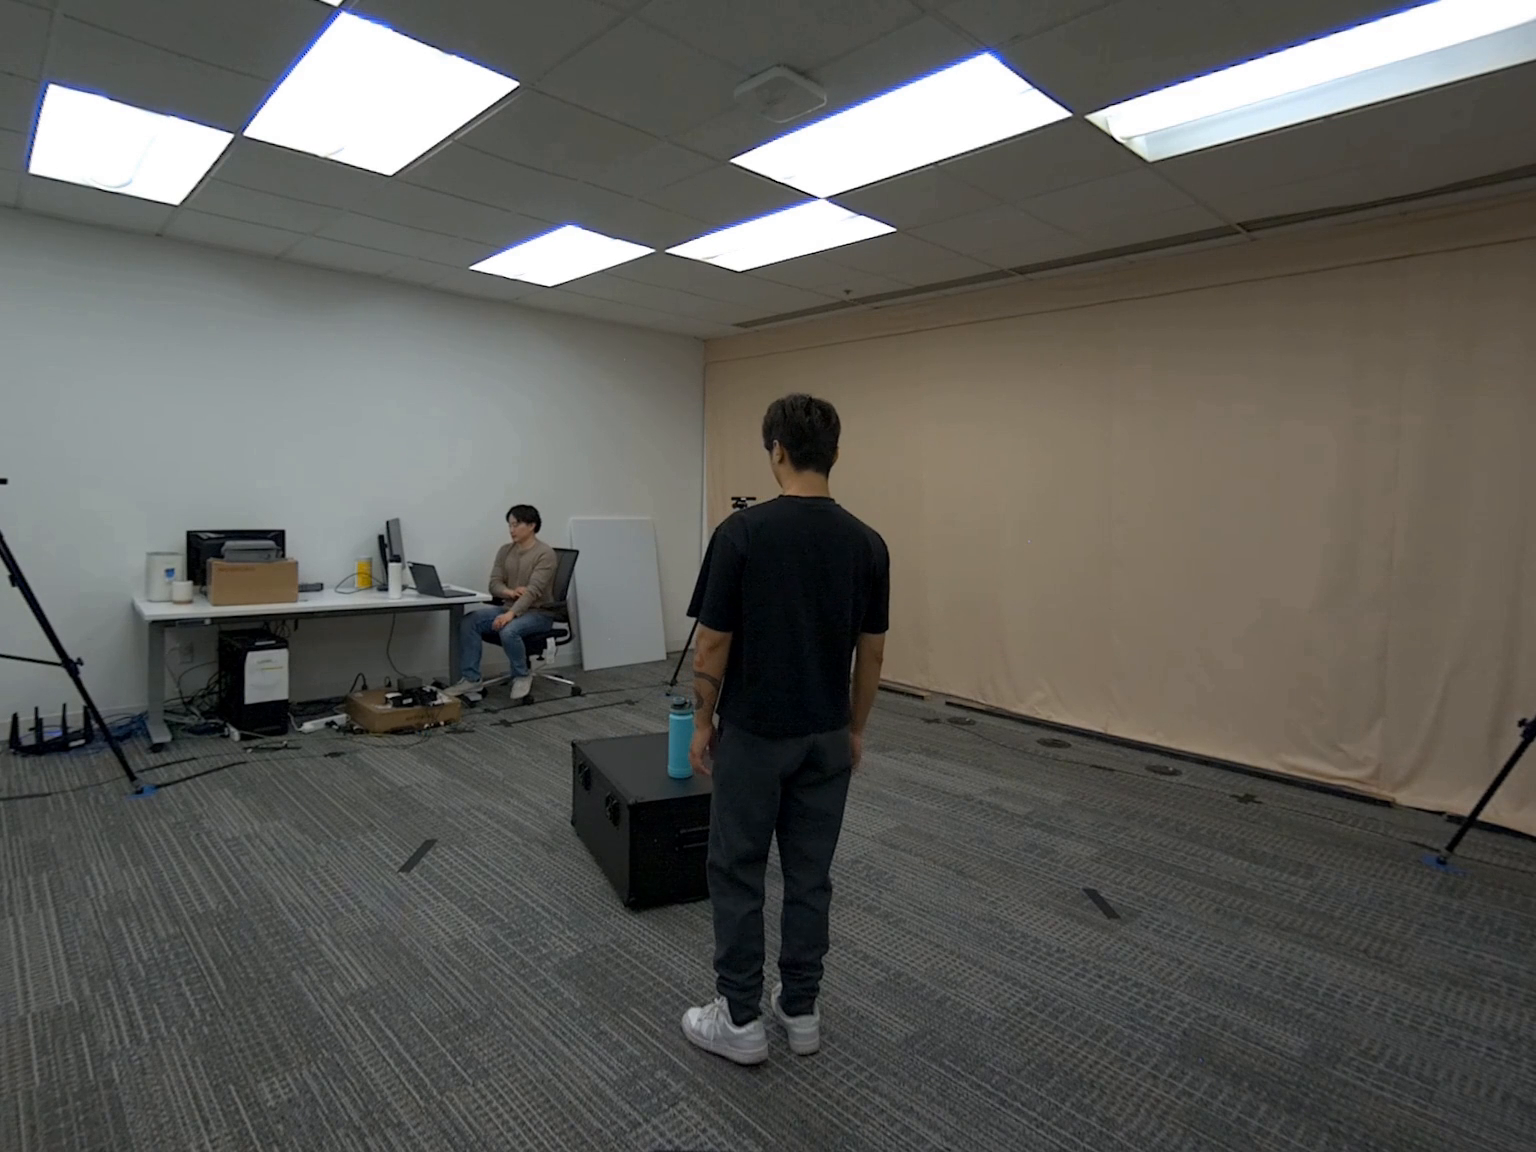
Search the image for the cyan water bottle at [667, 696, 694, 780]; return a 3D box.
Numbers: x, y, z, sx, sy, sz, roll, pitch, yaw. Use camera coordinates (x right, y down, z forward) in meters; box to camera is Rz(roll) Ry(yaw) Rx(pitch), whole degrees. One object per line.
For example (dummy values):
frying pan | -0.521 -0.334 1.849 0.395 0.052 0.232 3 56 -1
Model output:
cyan water bottle | -0.326 0.586 3.083 0.092 0.283 0.092 3 1 -1
